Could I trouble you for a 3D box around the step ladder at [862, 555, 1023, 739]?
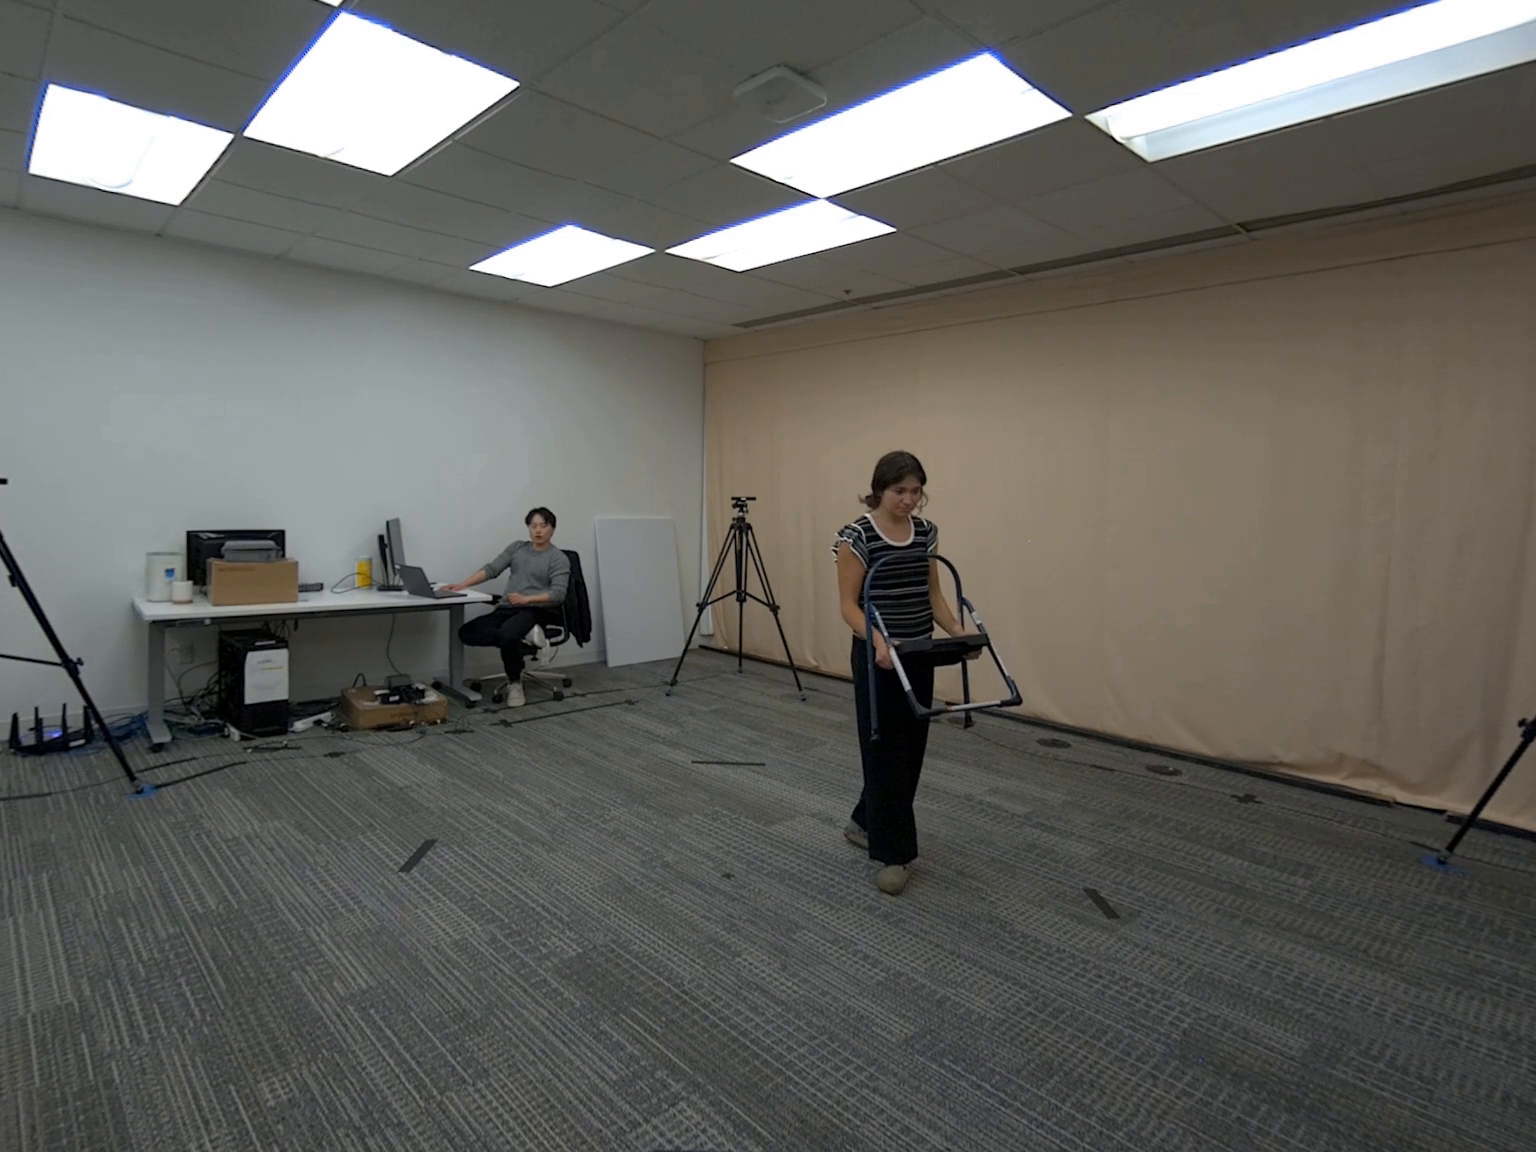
[{"bbox_3d":[0.542,0.231,3.007,0.424,0.617,0.348,-3,-23,-23],"label":"step ladder"}]
